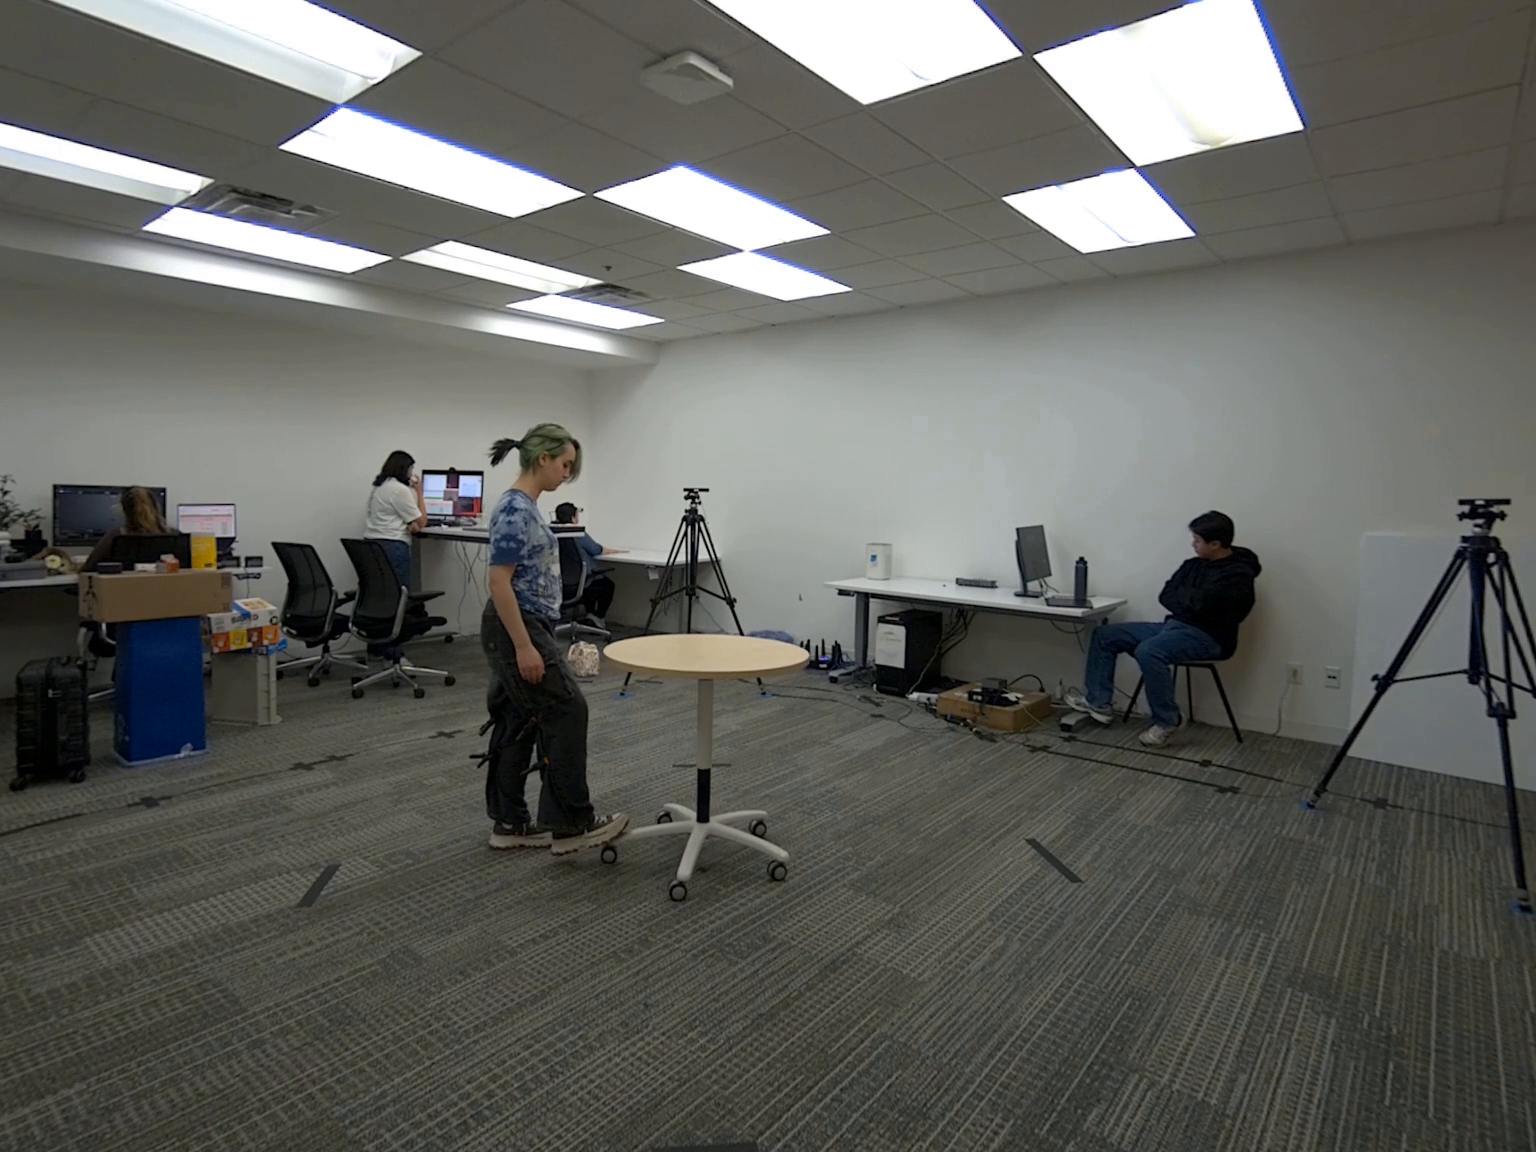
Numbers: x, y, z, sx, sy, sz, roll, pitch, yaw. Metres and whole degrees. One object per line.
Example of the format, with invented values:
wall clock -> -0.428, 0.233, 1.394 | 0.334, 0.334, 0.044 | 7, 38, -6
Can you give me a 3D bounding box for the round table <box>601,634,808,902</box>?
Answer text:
round table -> -0.247, 0.674, 3.189 | 0.763, 0.792, 0.767 | 1, 3, -2
